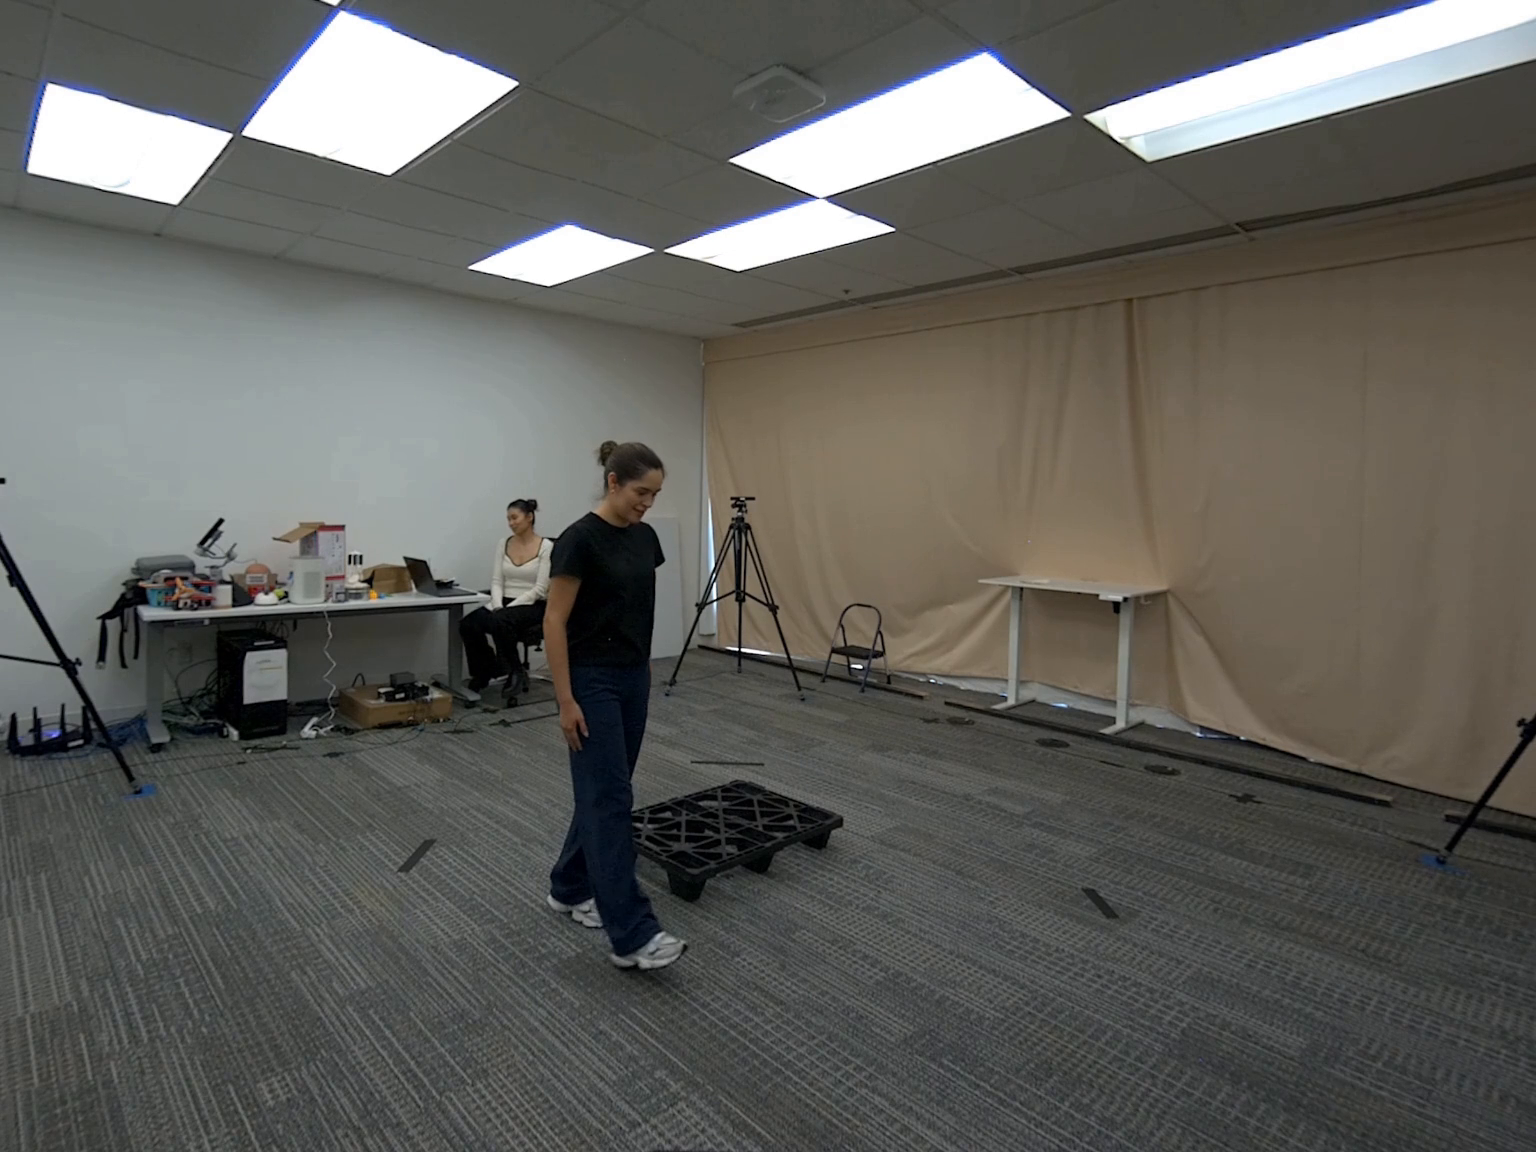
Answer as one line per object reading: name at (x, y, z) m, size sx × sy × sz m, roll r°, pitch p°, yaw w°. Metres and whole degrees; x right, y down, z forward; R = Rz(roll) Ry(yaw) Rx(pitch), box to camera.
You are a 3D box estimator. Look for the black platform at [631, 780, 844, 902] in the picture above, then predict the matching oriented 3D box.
black platform at (-0.192, 1.026, 3.294) m, size 0.620 × 0.143 × 0.787 m, roll 5°, pitch 6°, yaw 45°
